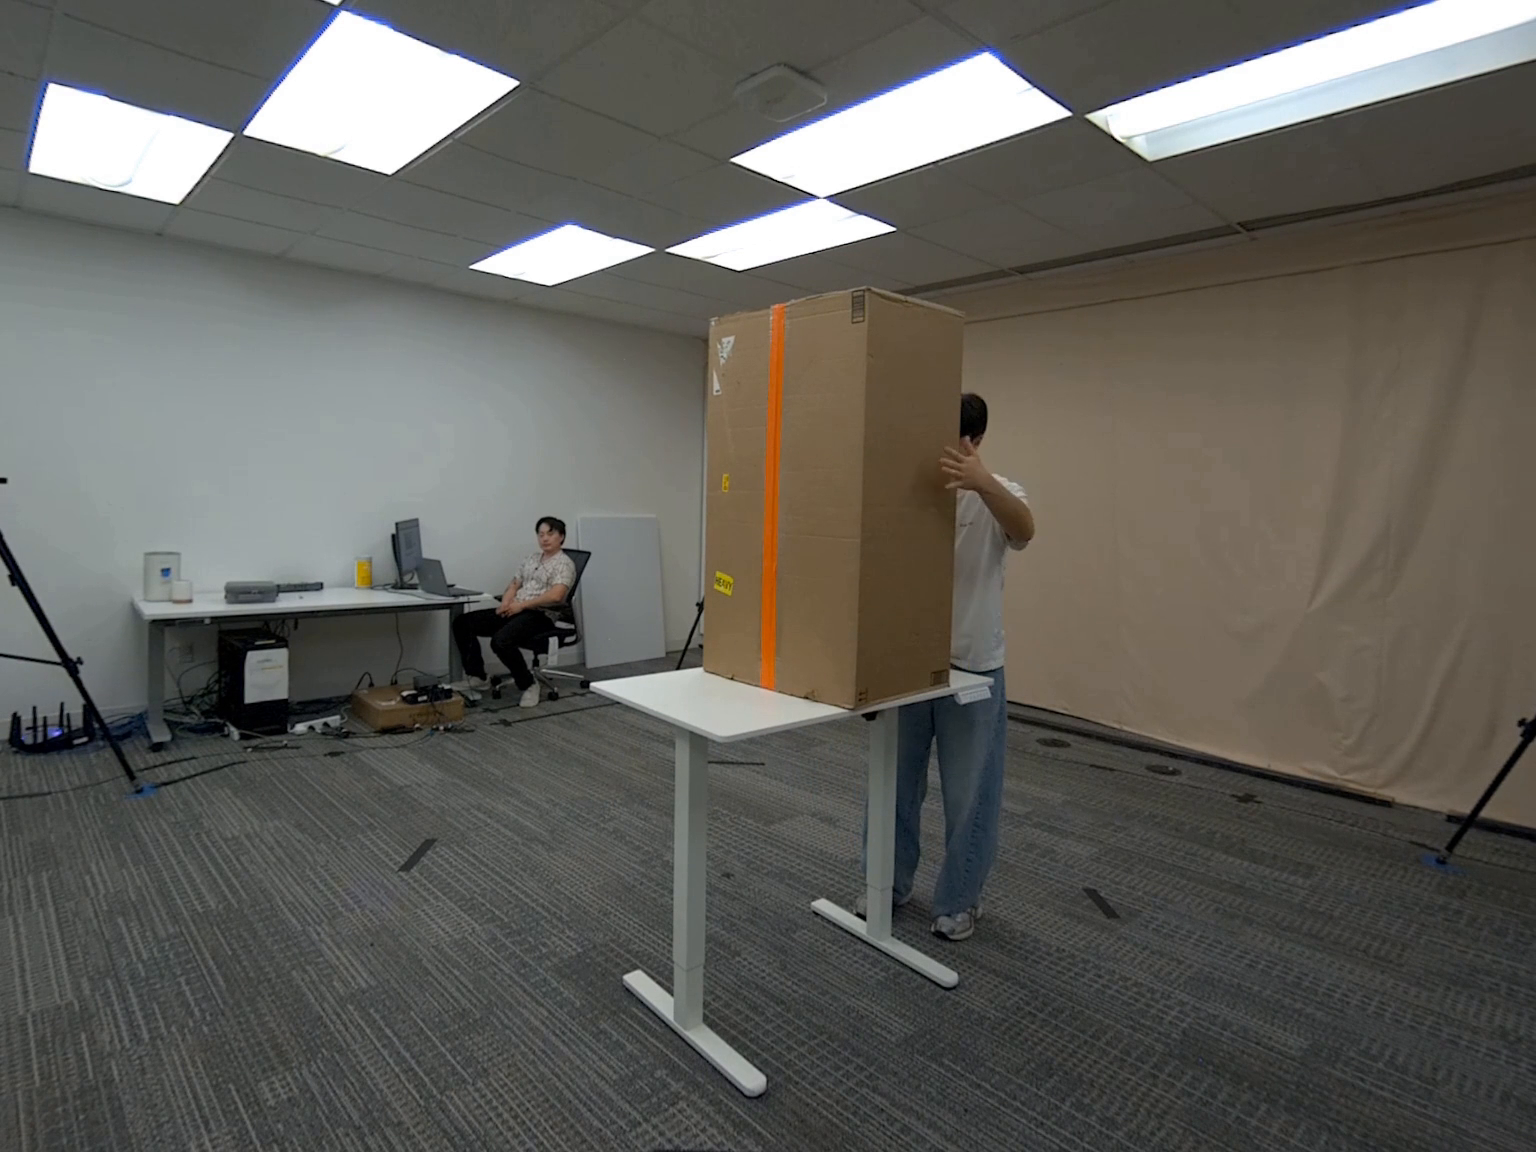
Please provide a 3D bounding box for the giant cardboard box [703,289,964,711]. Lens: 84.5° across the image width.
[{"bbox_3d":[0.165,-0.206,2.361,0.416,1.023,0.592,-3,6,-43],"label":"giant cardboard box"}]
